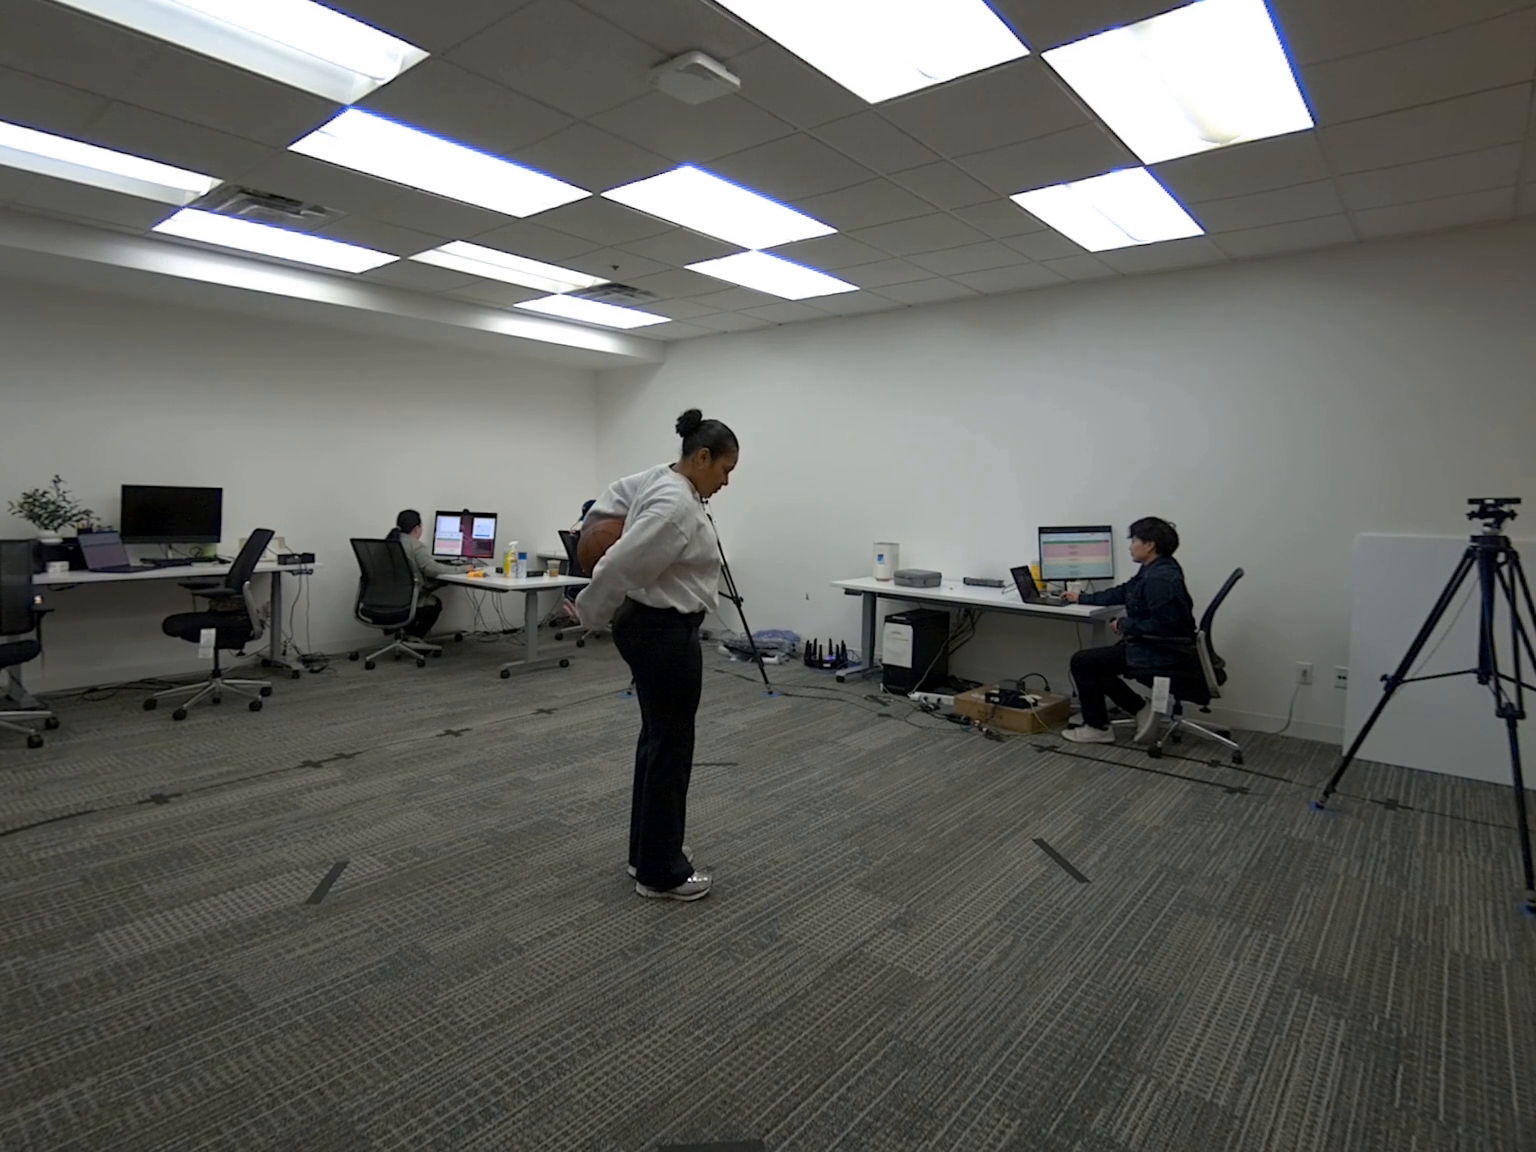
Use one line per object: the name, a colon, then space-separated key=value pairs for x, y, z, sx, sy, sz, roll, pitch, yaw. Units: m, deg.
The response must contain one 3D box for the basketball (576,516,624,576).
basketball: x=-0.581 y=-0.094 z=3.090 sx=0.235 sy=0.235 sz=0.237 roll=1 pitch=4 yaw=-2
